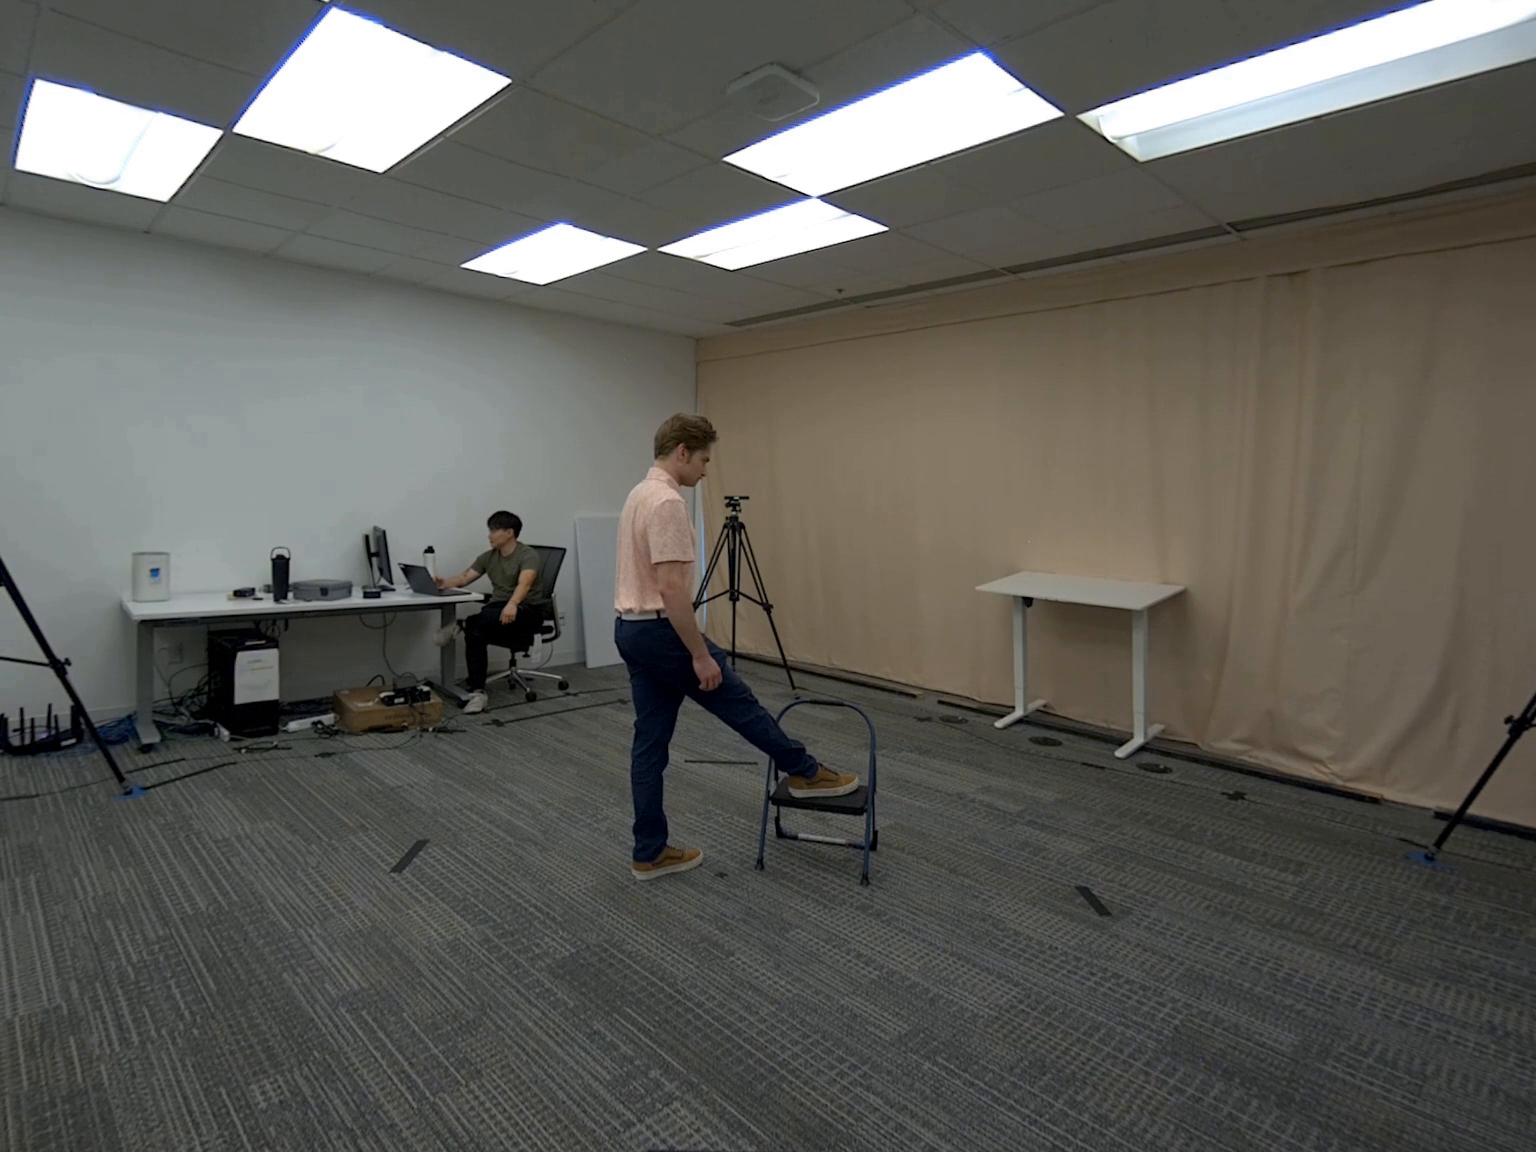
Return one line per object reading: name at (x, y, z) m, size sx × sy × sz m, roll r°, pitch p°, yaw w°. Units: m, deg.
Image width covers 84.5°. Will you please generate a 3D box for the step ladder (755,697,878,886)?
step ladder at (0.200, 0.798, 3.256) m, size 0.436 × 0.605 × 0.346 m, roll 3°, pitch 3°, yaw 14°
